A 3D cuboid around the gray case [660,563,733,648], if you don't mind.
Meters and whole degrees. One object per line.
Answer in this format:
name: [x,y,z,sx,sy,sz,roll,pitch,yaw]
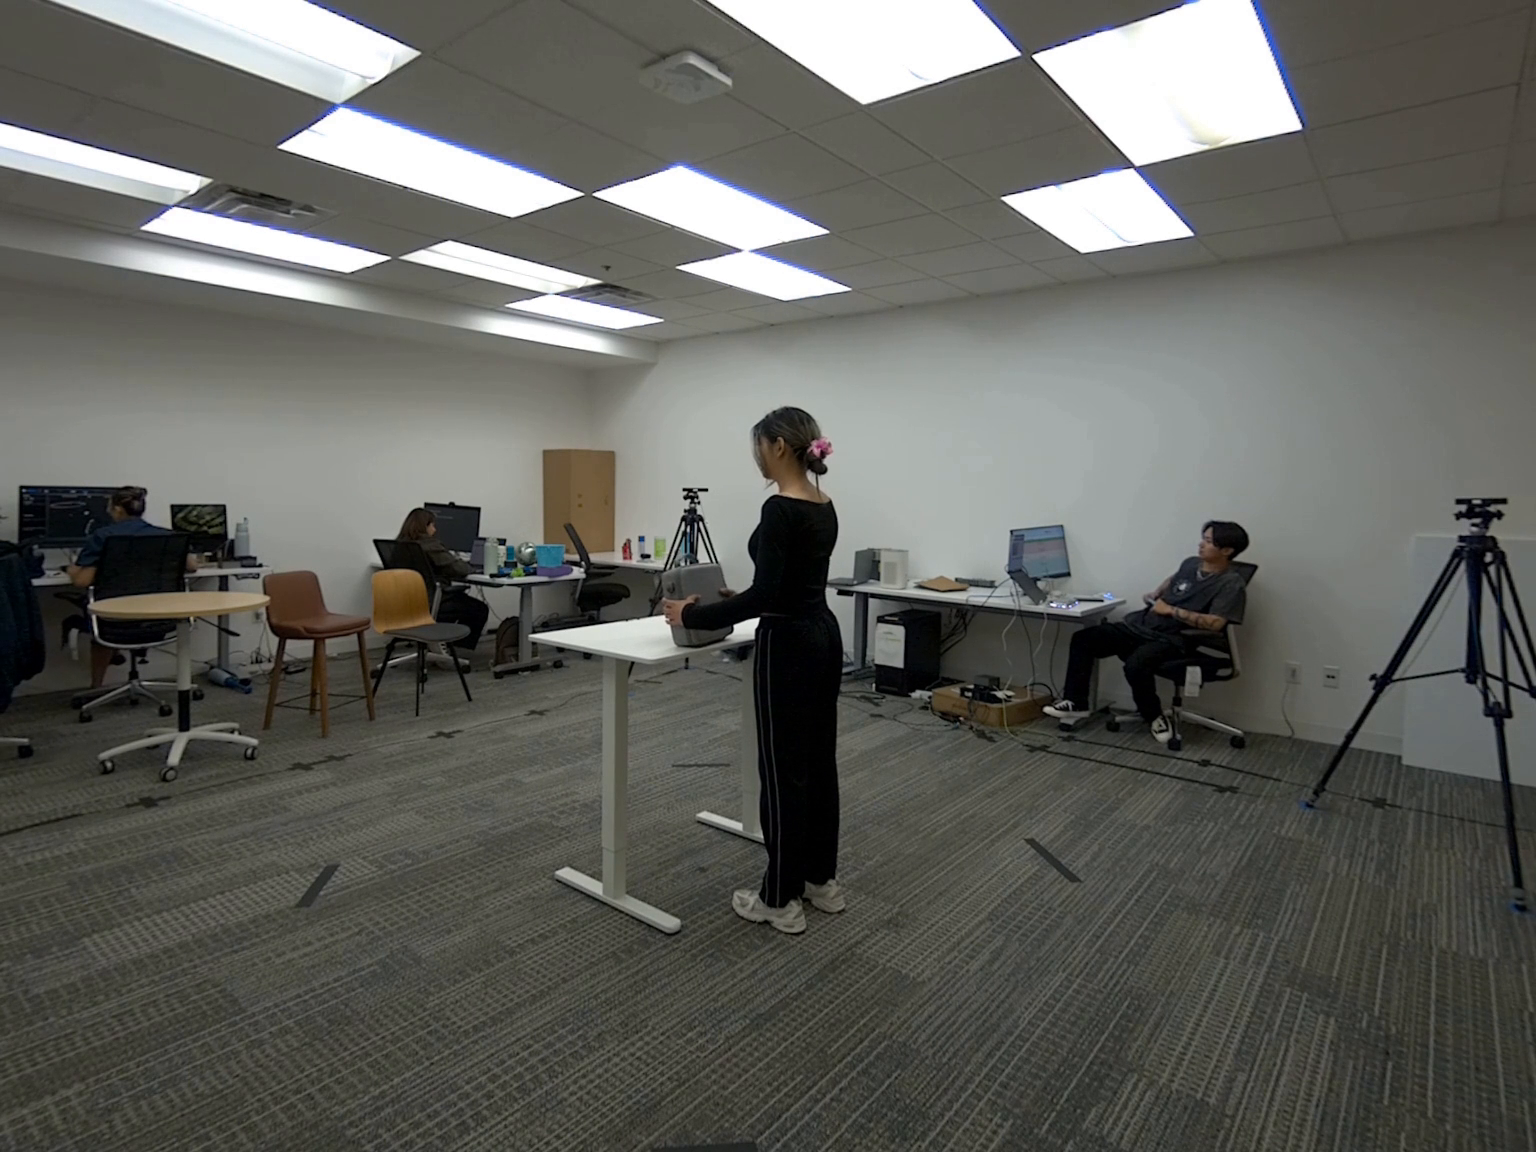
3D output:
gray case: [-0.240,0.087,2.807,0.106,0.262,0.250,-13,-3,29]
